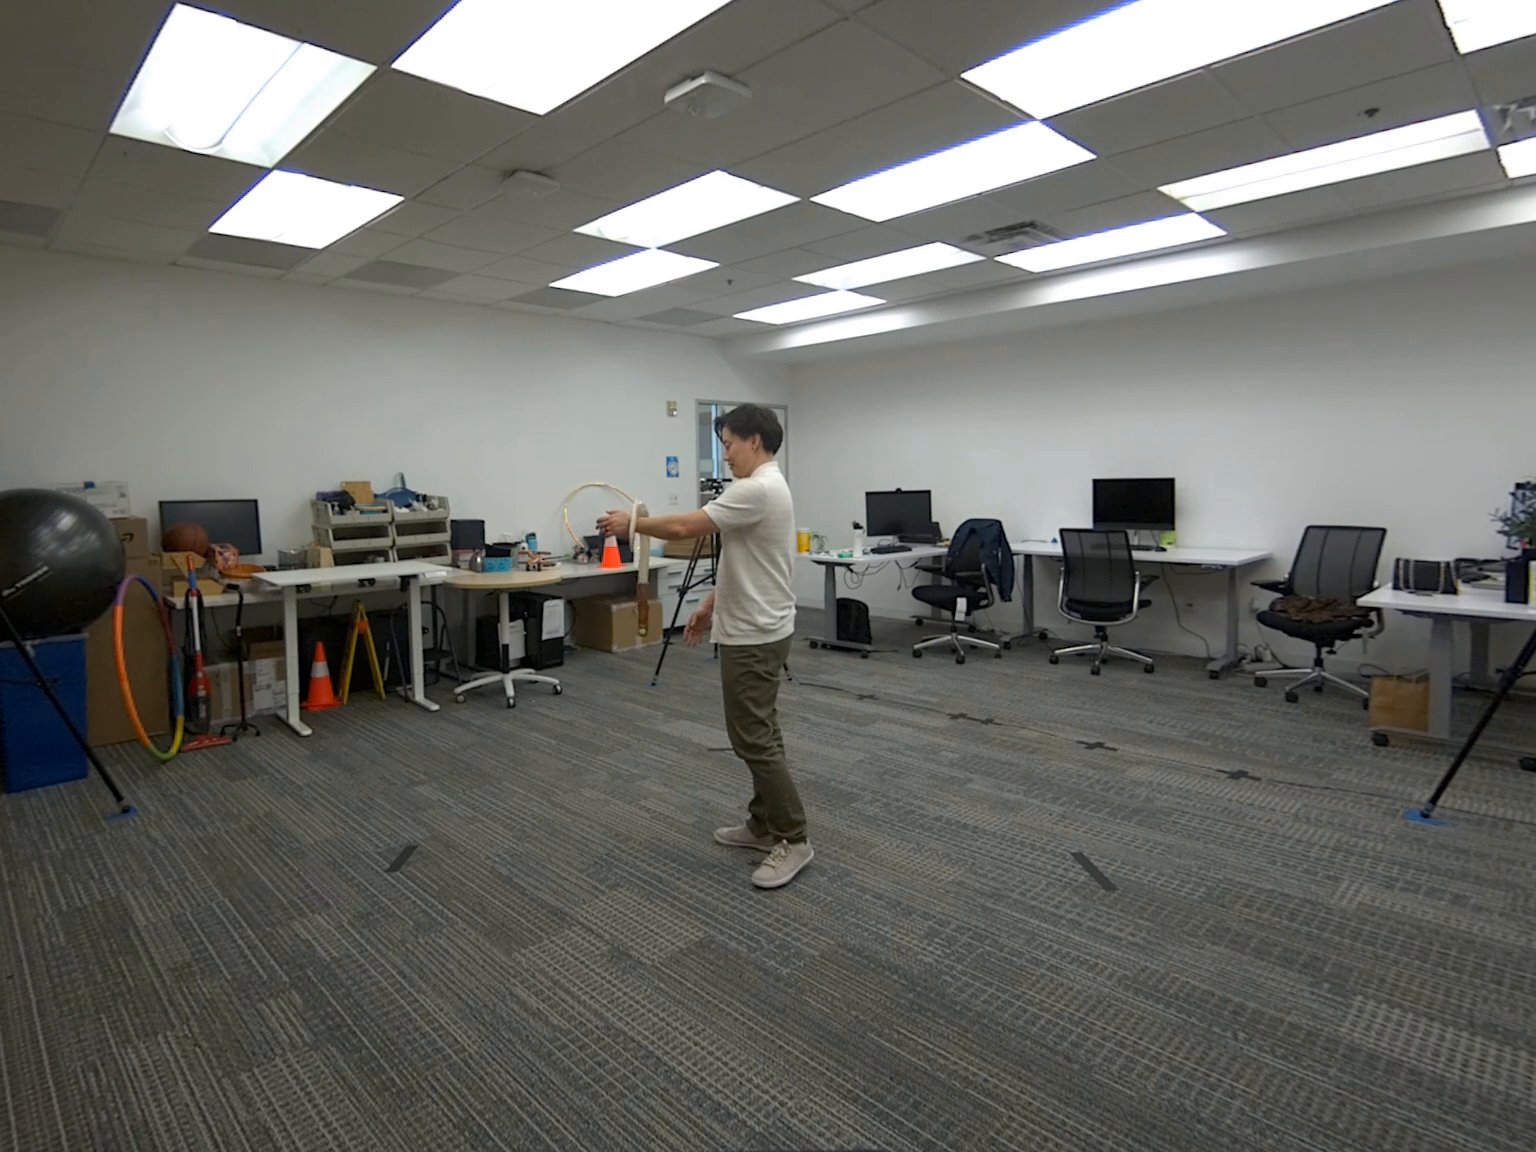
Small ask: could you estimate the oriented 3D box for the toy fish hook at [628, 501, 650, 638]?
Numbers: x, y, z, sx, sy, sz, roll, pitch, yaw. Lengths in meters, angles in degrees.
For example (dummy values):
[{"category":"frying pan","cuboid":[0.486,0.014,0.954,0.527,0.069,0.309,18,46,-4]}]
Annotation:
[{"category":"toy fish hook","cuboid":[-0.482,-0.027,3.173,0.049,0.508,0.221,-4,-3,13]}]
